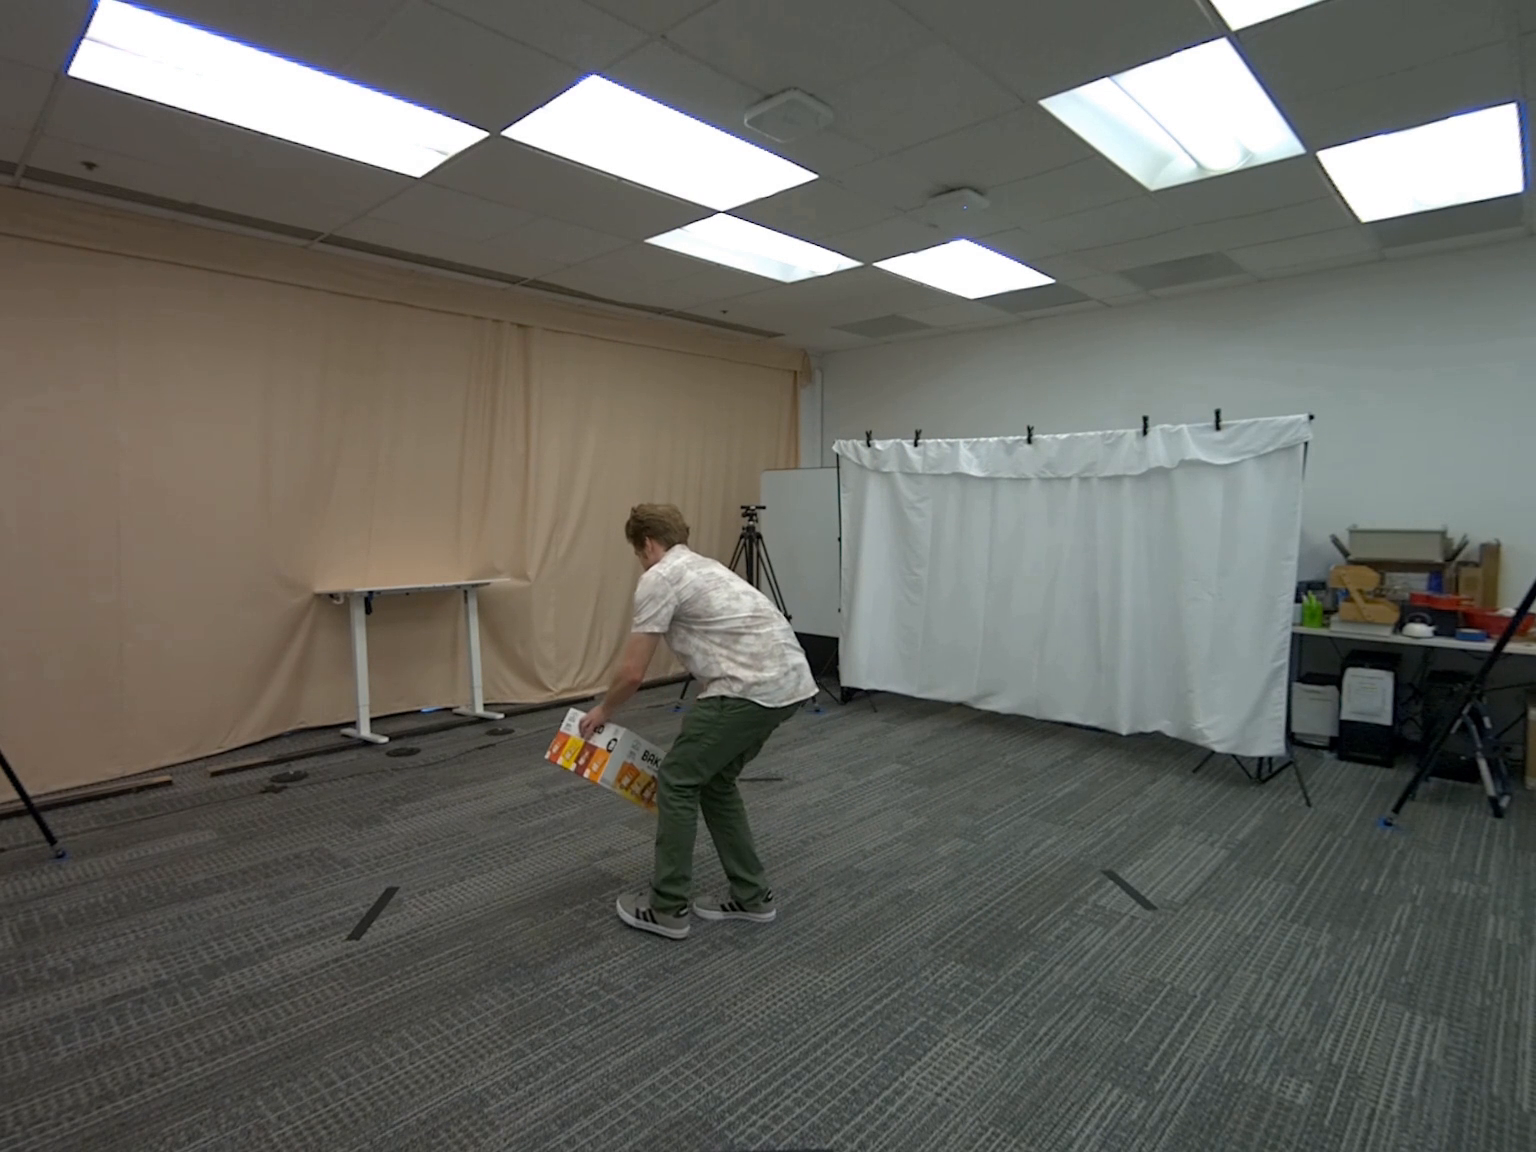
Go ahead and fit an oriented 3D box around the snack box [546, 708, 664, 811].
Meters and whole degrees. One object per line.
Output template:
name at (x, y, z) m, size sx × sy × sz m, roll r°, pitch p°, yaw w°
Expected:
snack box at (-0.537, 0.692, 3.066) m, size 0.352 × 0.206 × 0.391 m, roll 7°, pitch -26°, yaw 45°
